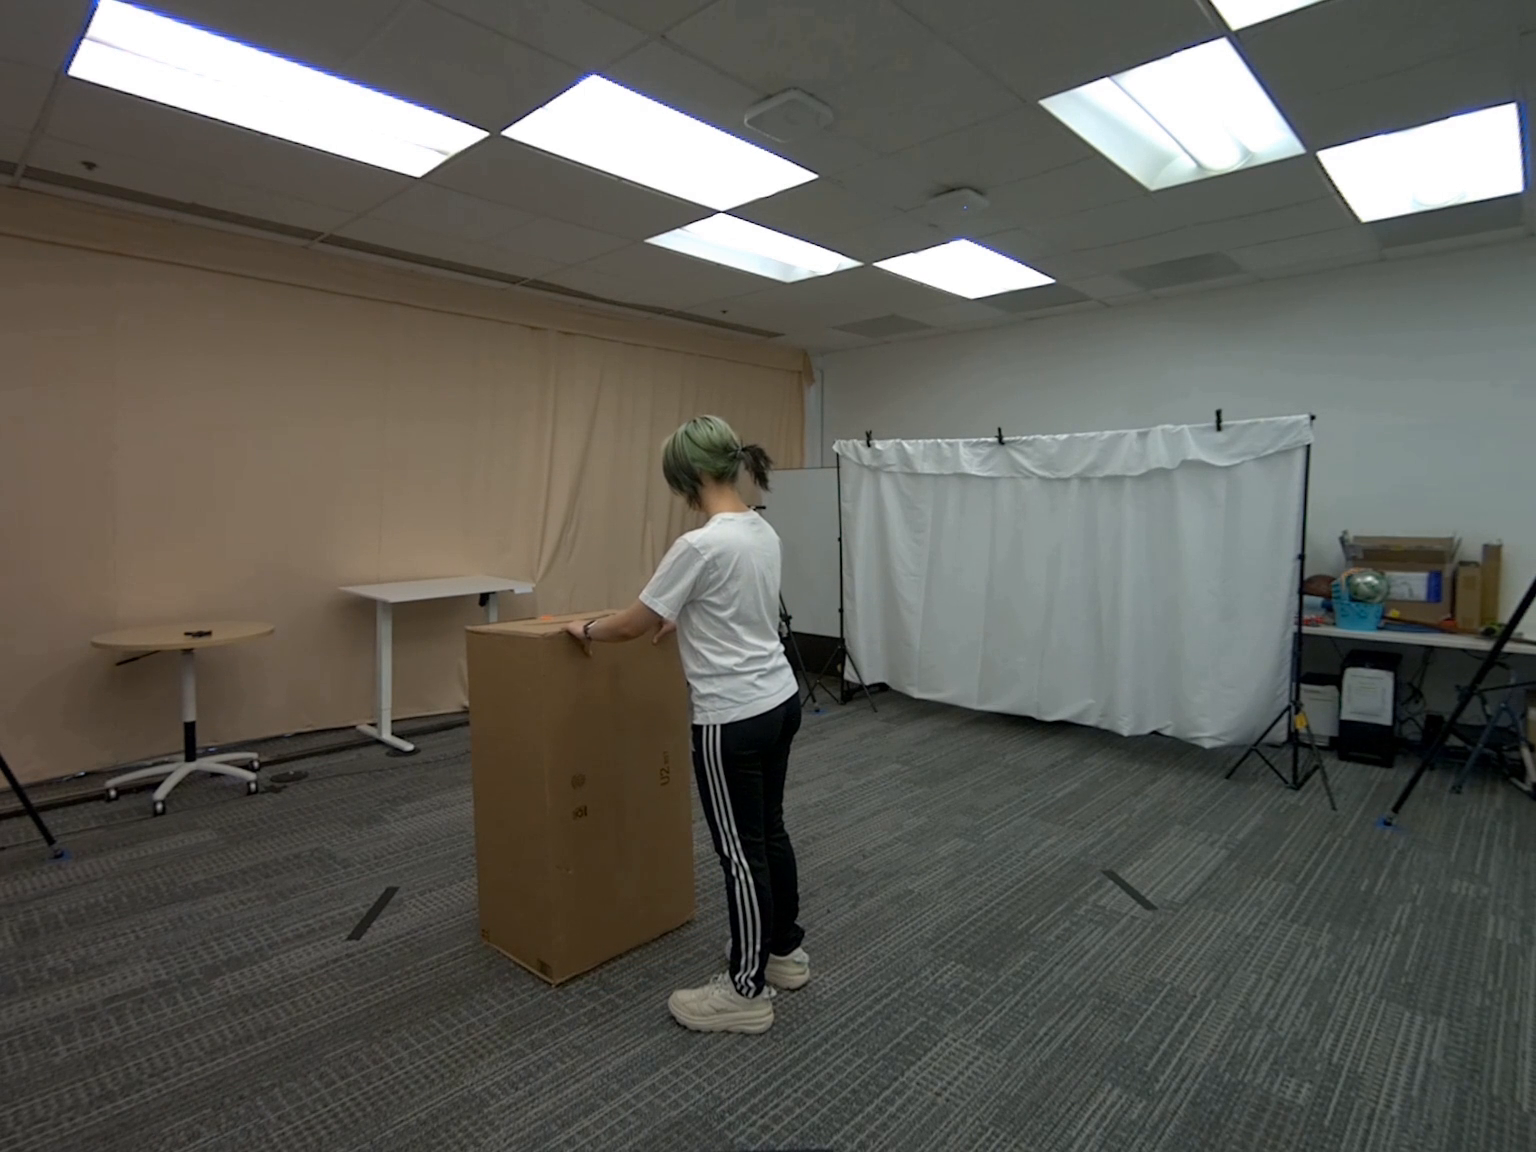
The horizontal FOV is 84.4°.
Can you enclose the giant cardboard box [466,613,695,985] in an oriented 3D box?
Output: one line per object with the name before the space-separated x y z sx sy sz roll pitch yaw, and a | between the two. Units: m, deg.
giant cardboard box | -0.608 0.659 2.766 0.461 1.025 0.566 0 3 42
